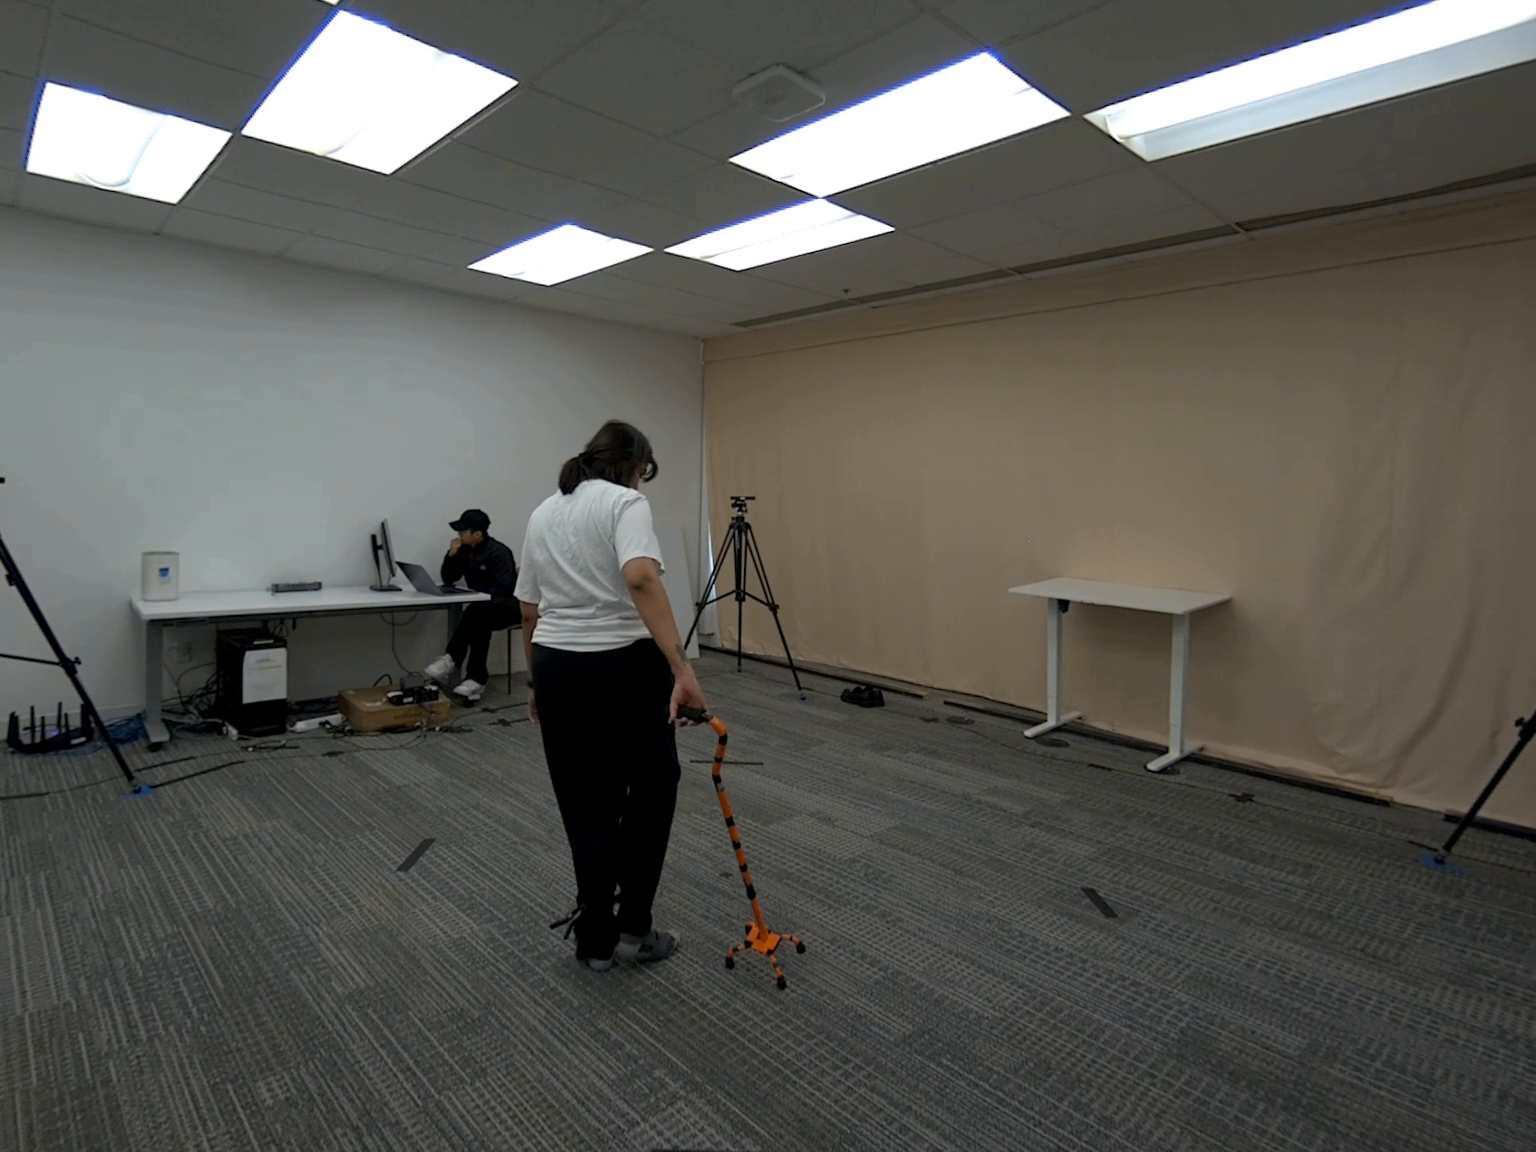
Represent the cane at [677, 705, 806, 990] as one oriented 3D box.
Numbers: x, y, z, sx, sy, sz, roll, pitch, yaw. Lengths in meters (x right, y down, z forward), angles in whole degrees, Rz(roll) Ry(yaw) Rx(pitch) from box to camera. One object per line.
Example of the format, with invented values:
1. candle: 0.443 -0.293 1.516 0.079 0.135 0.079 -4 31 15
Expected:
1. cane: -0.091 0.745 2.315 0.211 0.889 0.151 4 30 29
